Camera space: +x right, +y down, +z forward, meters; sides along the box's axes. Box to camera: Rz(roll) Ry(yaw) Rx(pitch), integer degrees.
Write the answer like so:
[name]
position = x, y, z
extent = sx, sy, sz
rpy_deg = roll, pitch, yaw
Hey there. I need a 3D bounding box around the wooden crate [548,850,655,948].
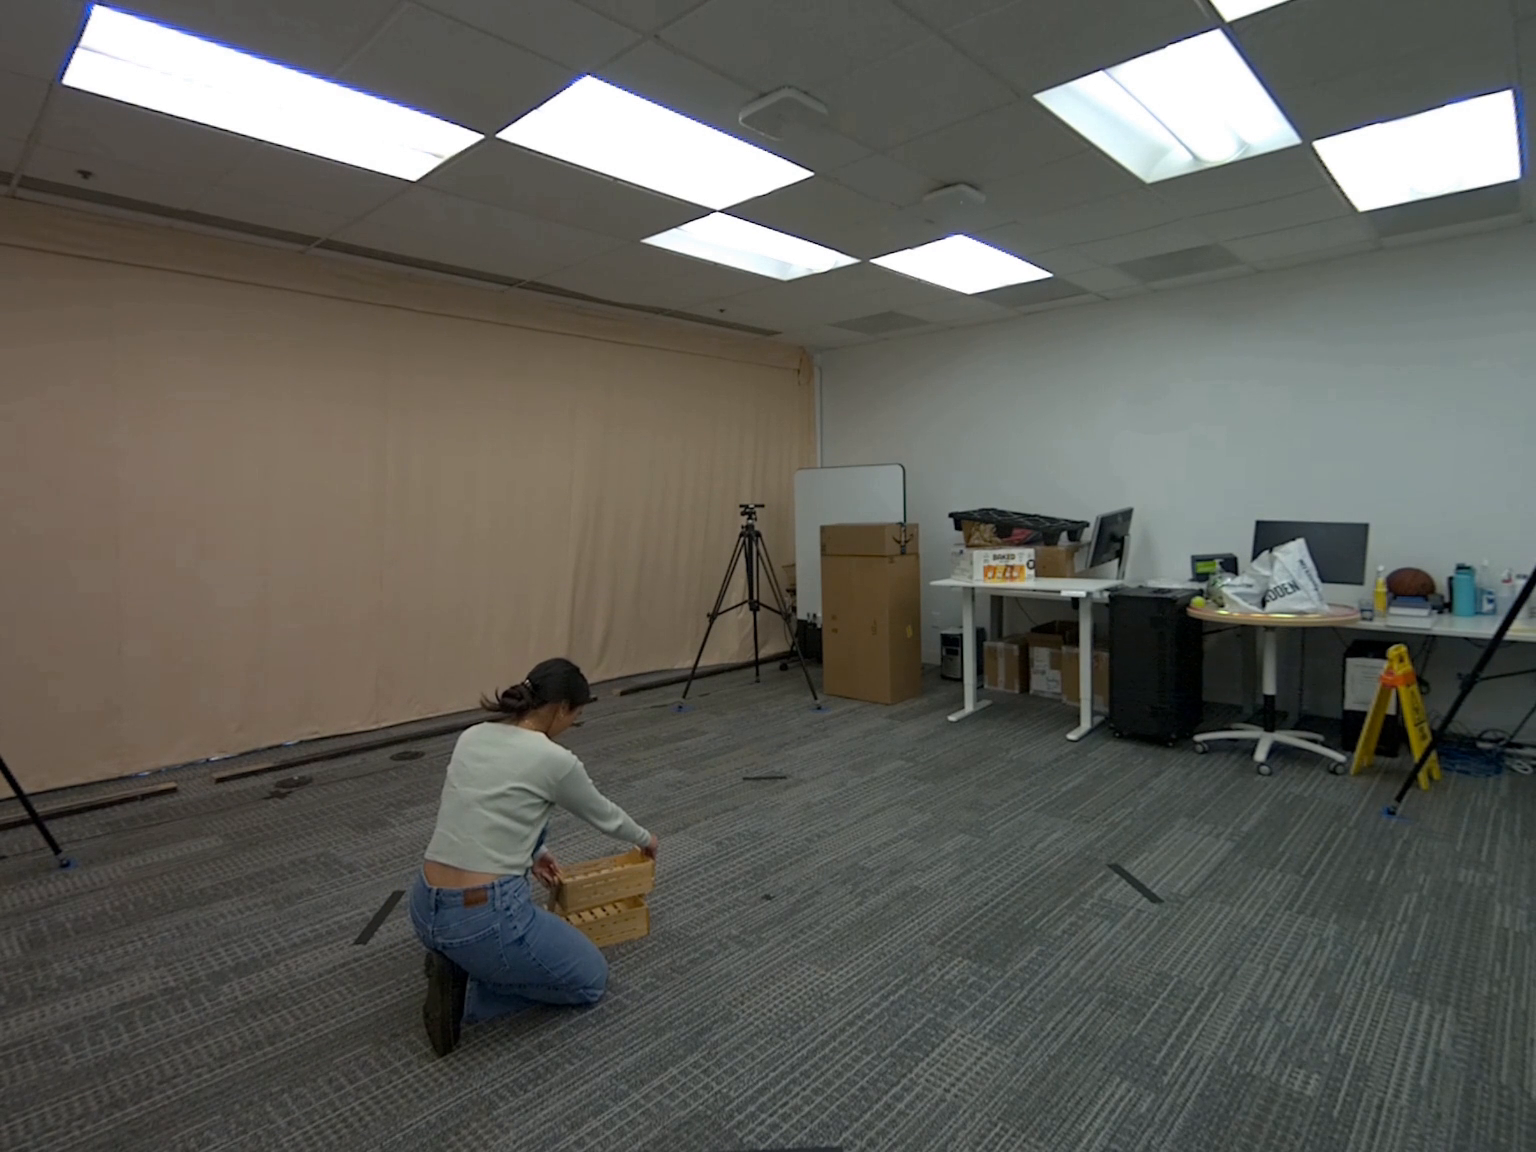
[wooden crate]
position = -0.569, 1.039, 2.757
extent = 0.316, 0.272, 0.311
rpy_deg = -3, 5, -29
